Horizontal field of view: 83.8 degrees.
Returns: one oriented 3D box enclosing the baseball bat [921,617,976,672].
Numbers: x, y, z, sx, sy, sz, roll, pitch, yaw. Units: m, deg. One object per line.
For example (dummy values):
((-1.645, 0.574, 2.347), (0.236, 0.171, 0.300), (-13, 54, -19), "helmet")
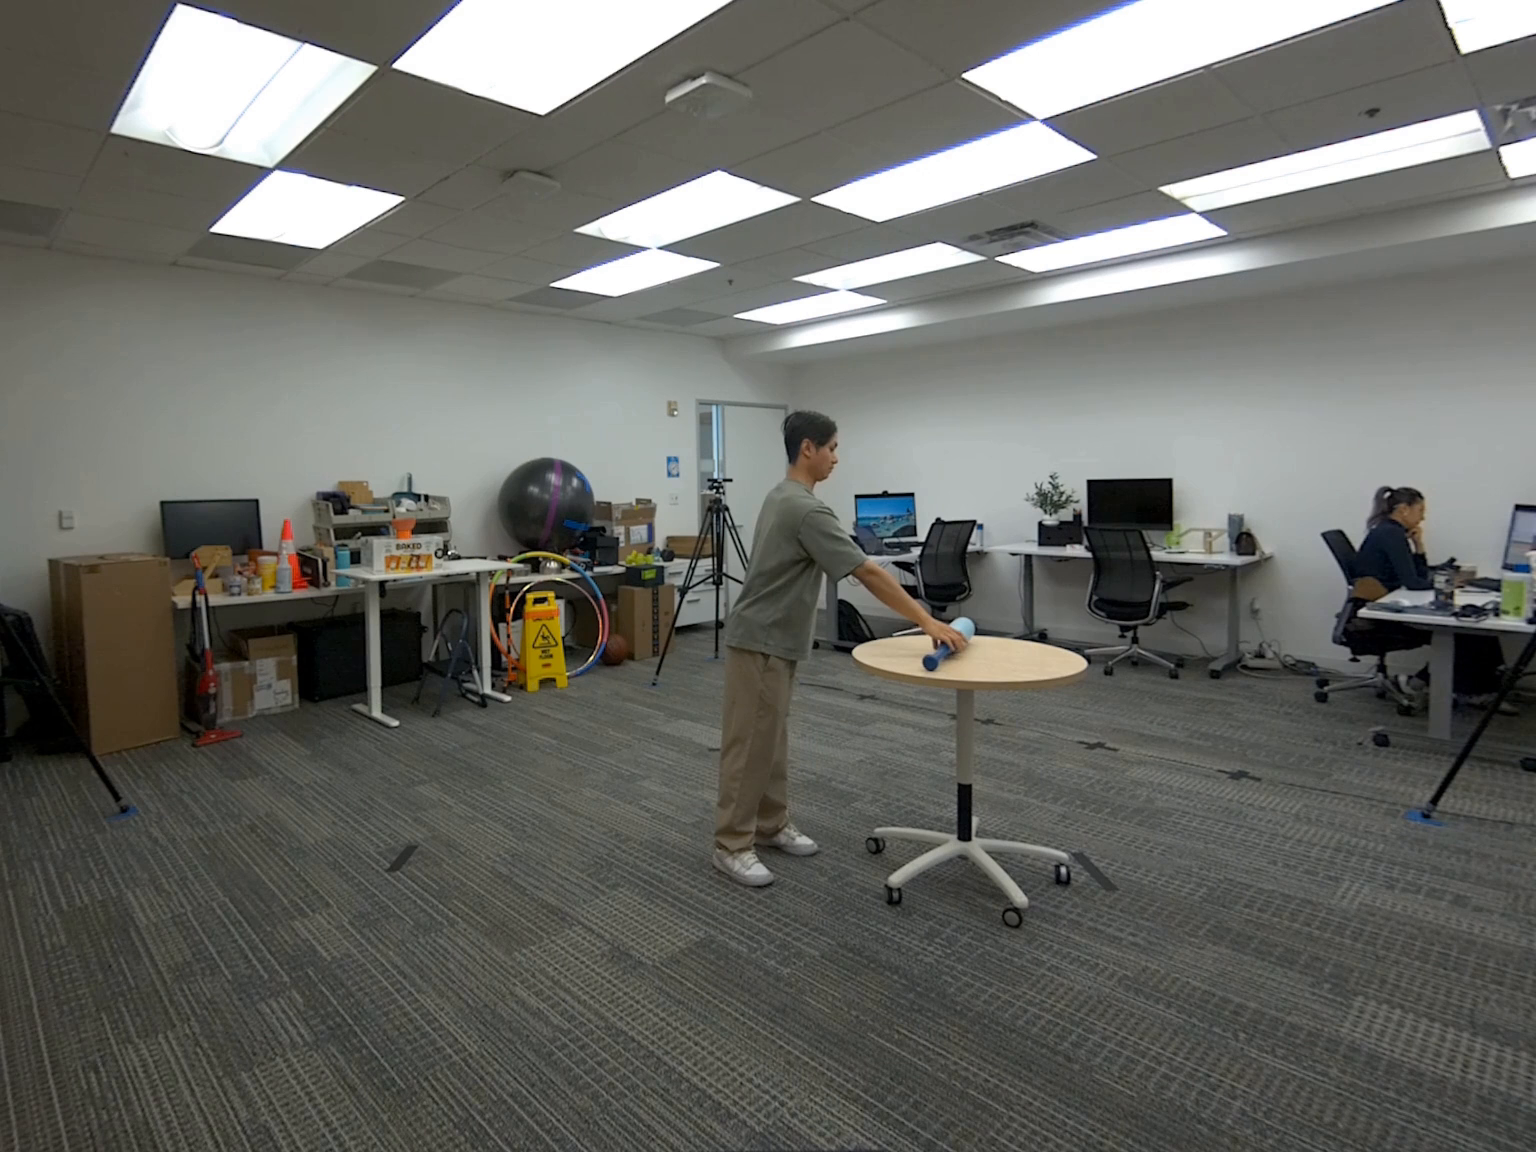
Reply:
((0.612, 0.235, 2.904), (0.091, 0.088, 0.535), (1, 10, 24), "baseball bat")
